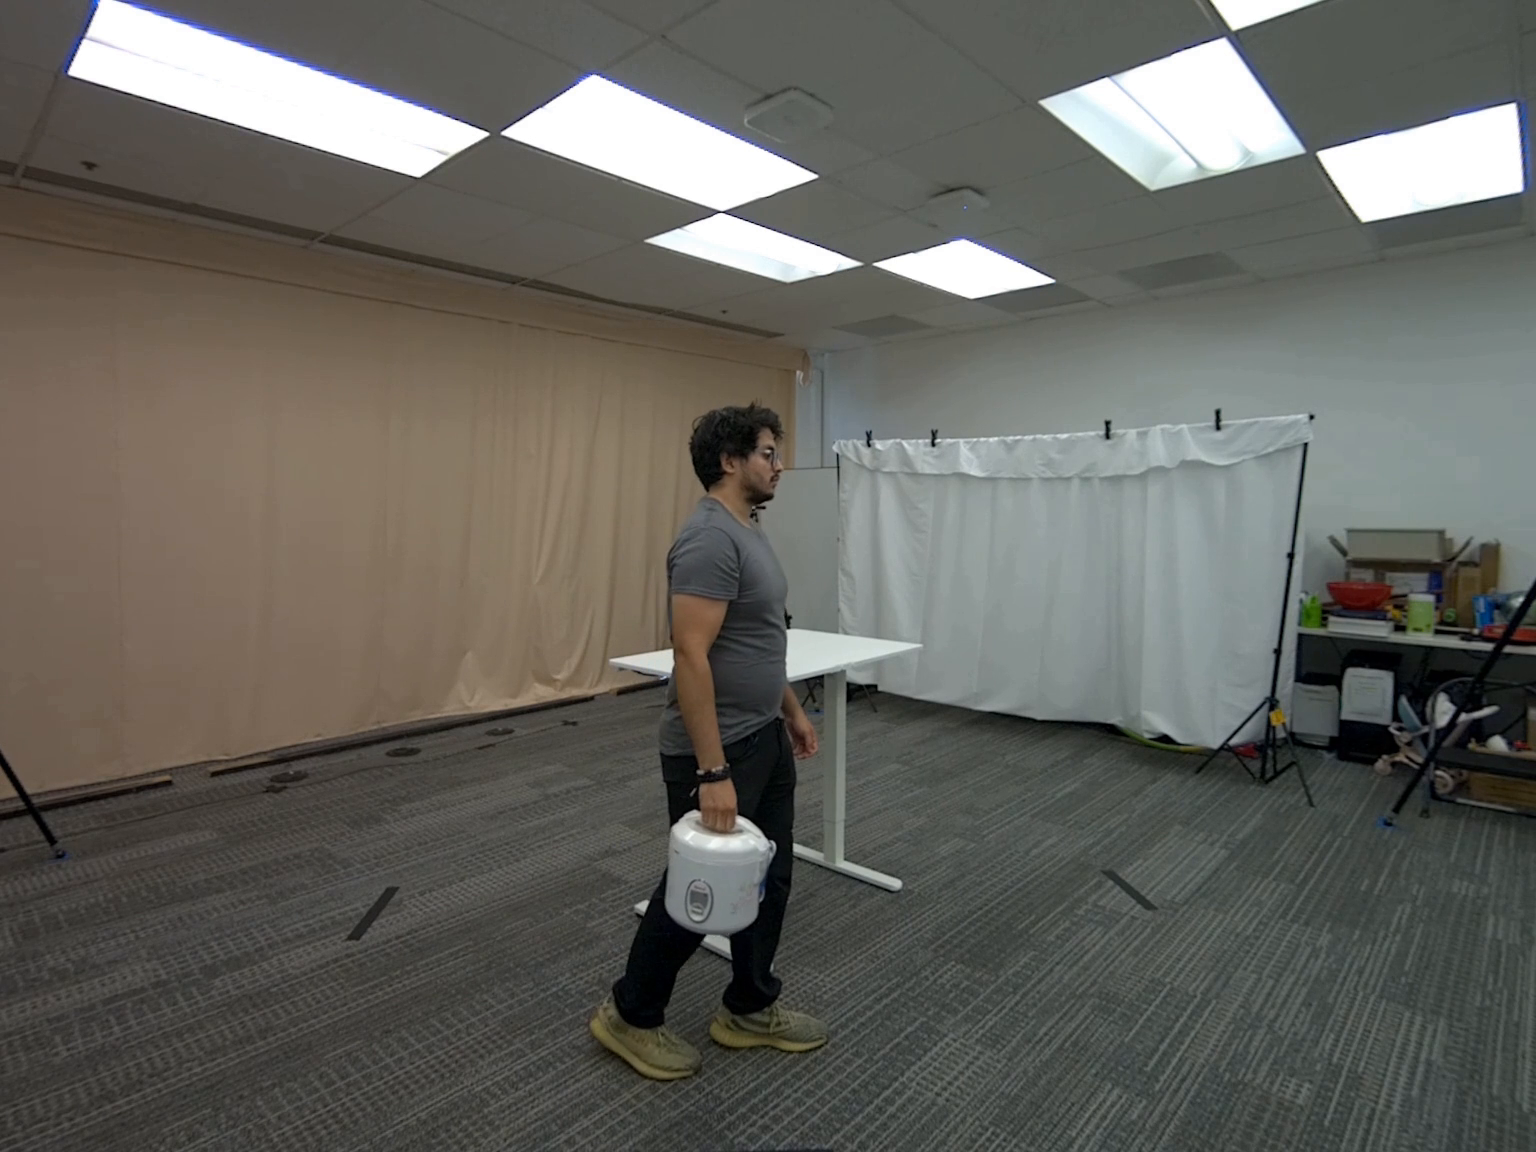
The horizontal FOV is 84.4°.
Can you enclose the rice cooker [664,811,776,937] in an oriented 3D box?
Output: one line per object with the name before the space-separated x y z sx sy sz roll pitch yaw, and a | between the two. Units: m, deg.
rice cooker | -0.106 0.627 1.835 0.225 0.233 0.213 6 0 16
